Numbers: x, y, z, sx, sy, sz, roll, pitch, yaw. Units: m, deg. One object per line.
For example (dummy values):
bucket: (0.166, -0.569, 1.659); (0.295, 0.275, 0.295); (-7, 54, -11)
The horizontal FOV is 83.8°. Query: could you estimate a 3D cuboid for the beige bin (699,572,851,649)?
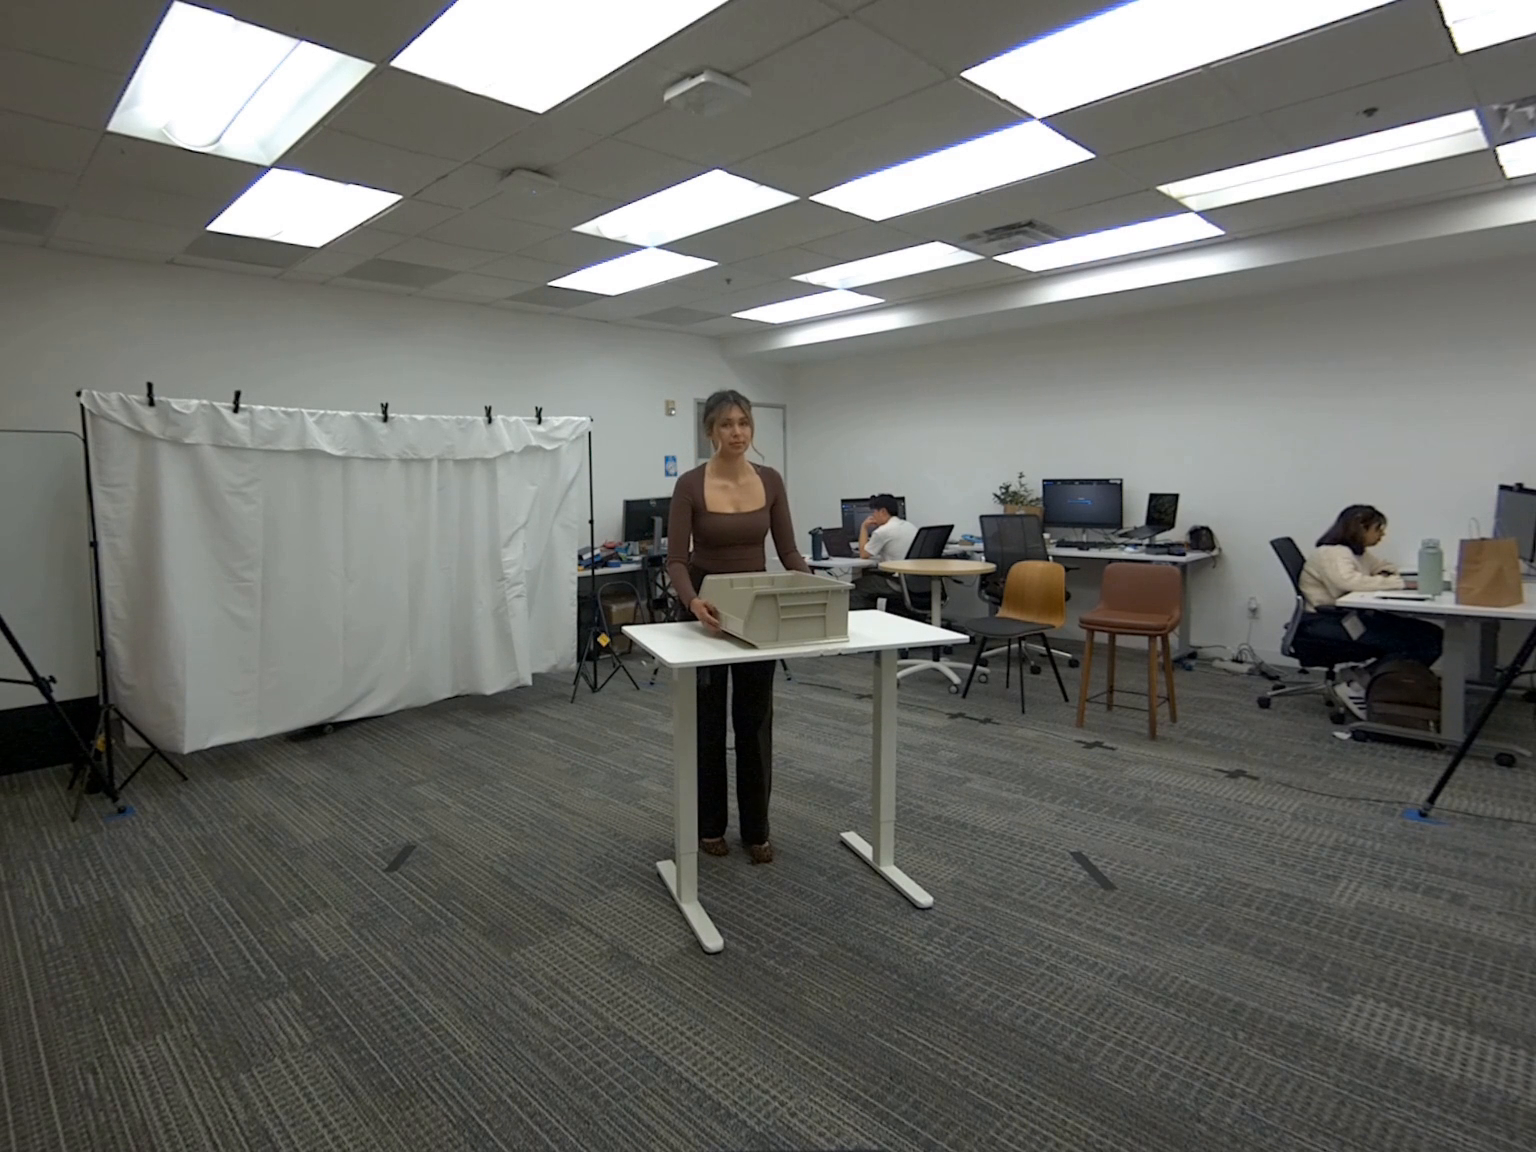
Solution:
beige bin: (0.020, 0.109, 2.789); (0.370, 0.188, 0.433); (-3, 6, -24)
